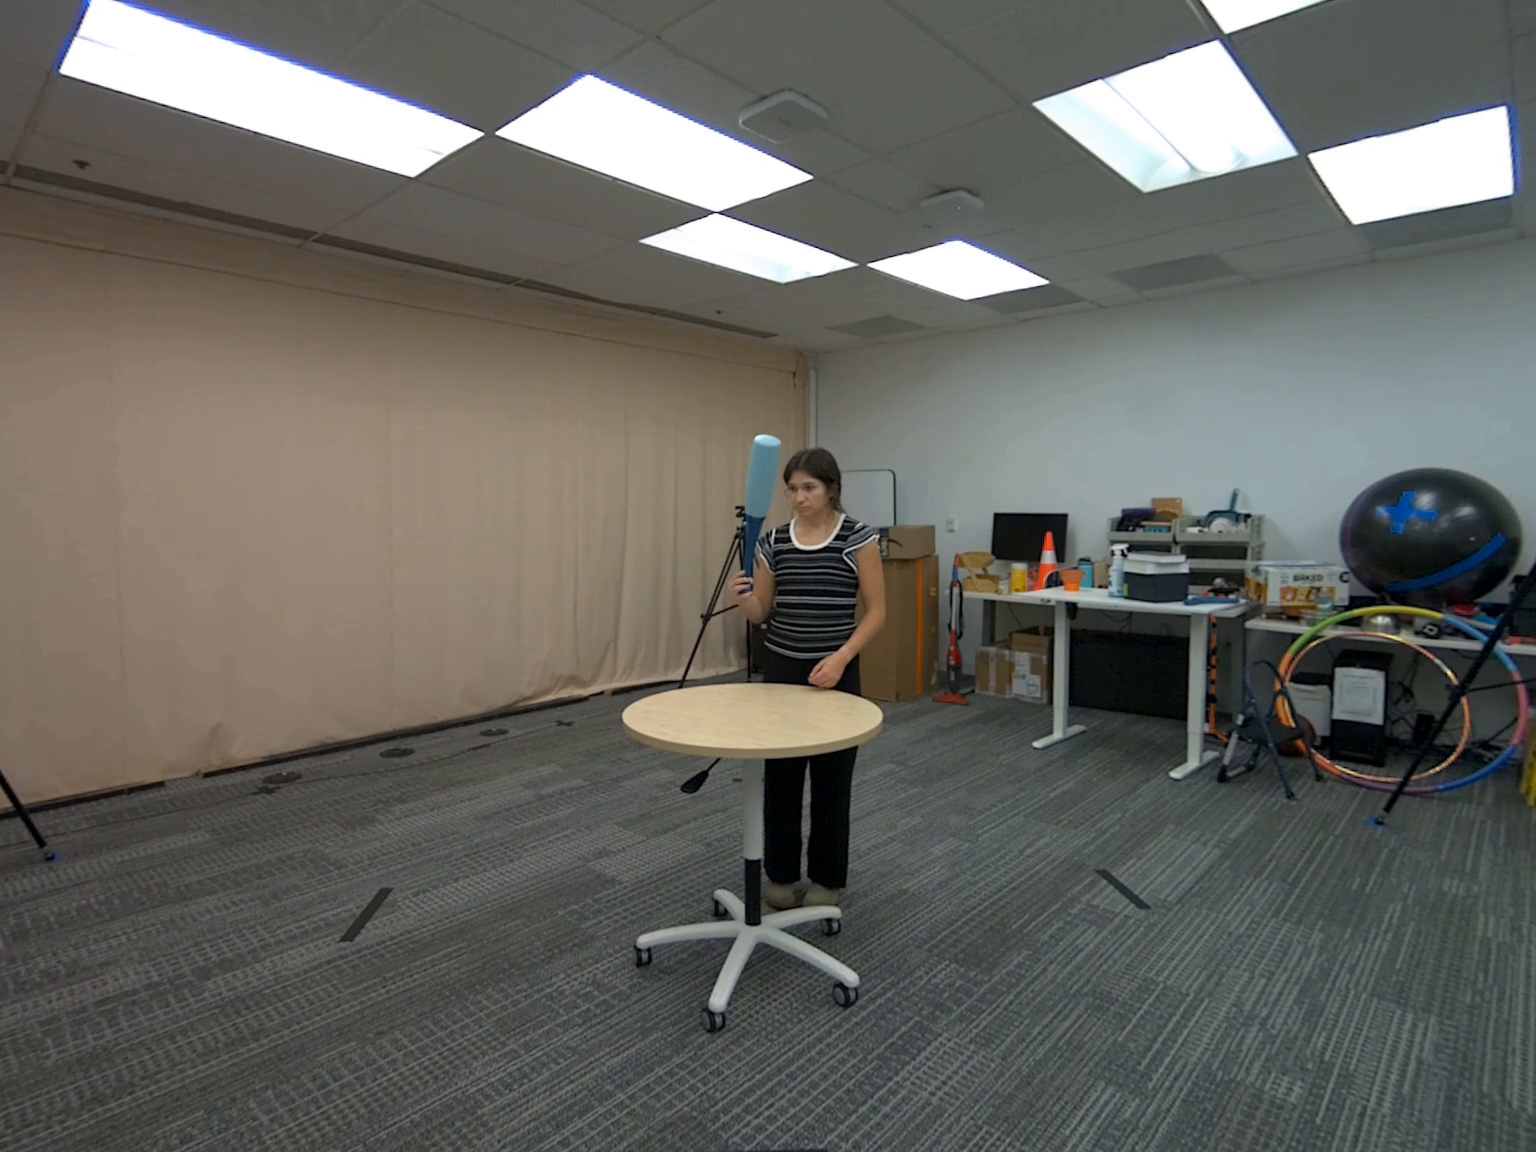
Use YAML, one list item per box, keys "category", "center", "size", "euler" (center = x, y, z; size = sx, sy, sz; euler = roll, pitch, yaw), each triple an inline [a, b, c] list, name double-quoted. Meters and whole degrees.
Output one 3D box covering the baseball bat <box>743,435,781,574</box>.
- category: "baseball bat"
  center: [-0.037, -0.180, 2.648]
  size: [0.089, 0.536, 0.090]
  euler: [5, 27, -5]
